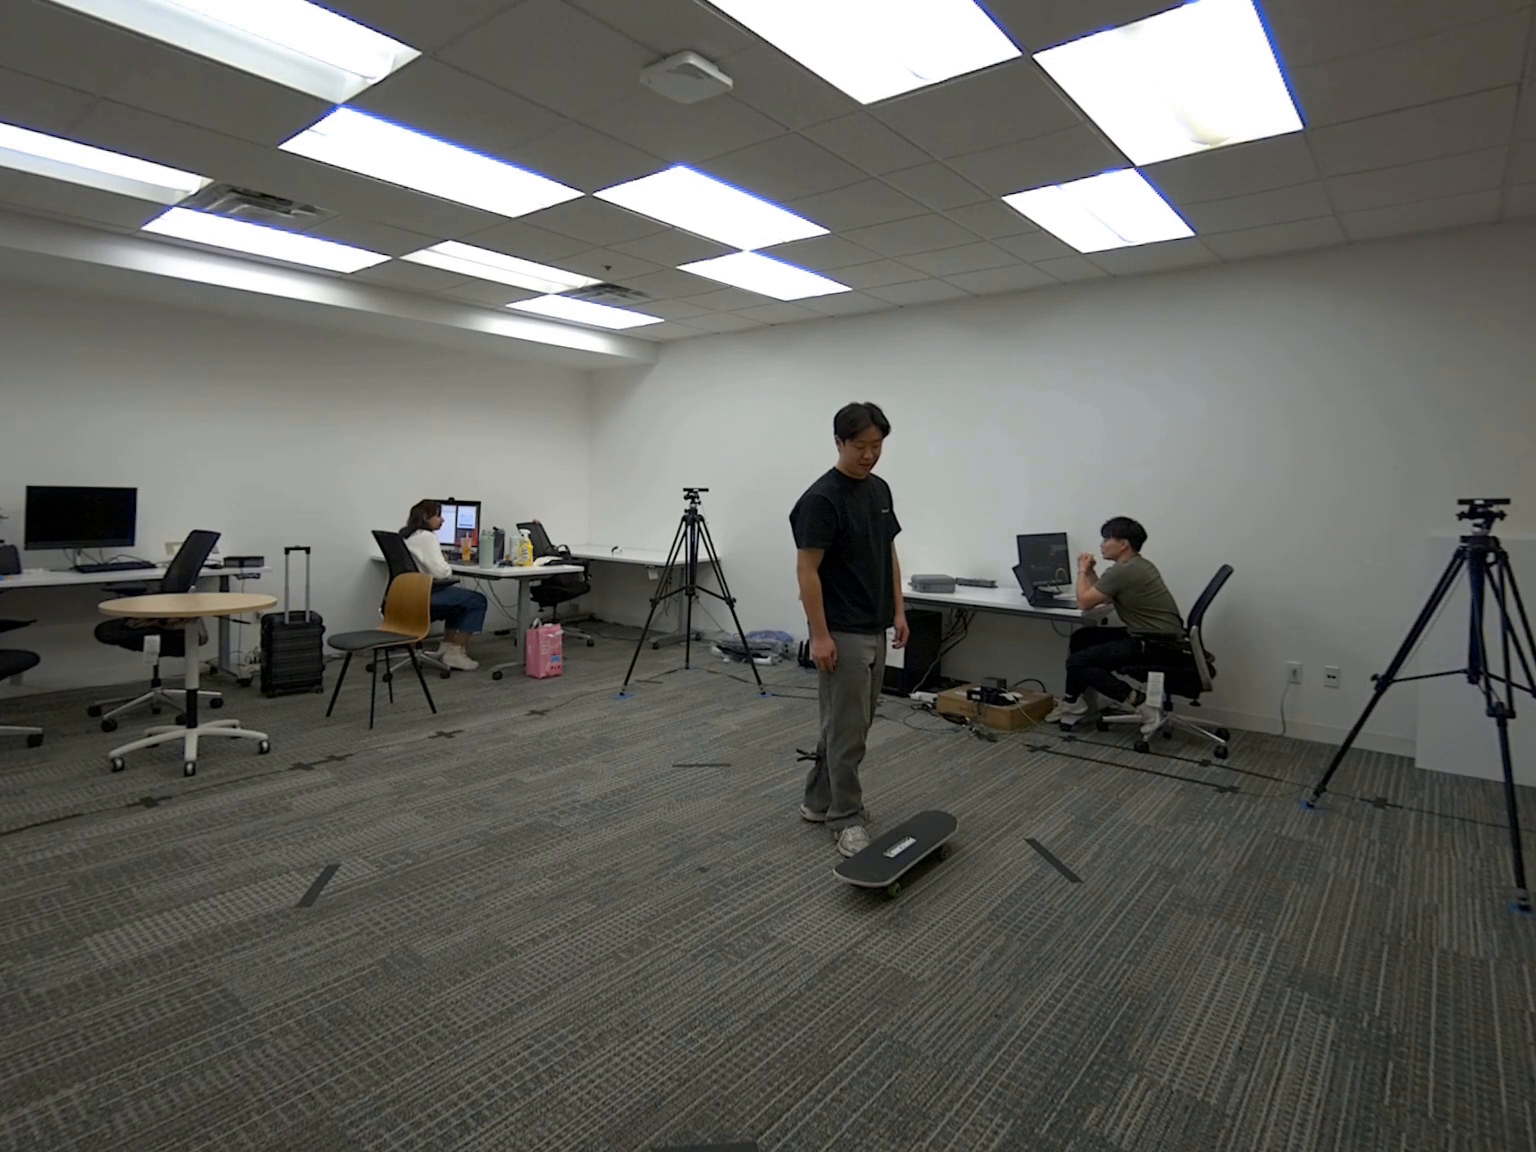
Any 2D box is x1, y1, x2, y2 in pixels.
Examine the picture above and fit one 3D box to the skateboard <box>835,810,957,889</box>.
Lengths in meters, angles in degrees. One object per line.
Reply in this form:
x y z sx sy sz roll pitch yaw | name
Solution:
0.479 1.026 3.133 0.200 0.110 0.763 4 7 36 | skateboard
